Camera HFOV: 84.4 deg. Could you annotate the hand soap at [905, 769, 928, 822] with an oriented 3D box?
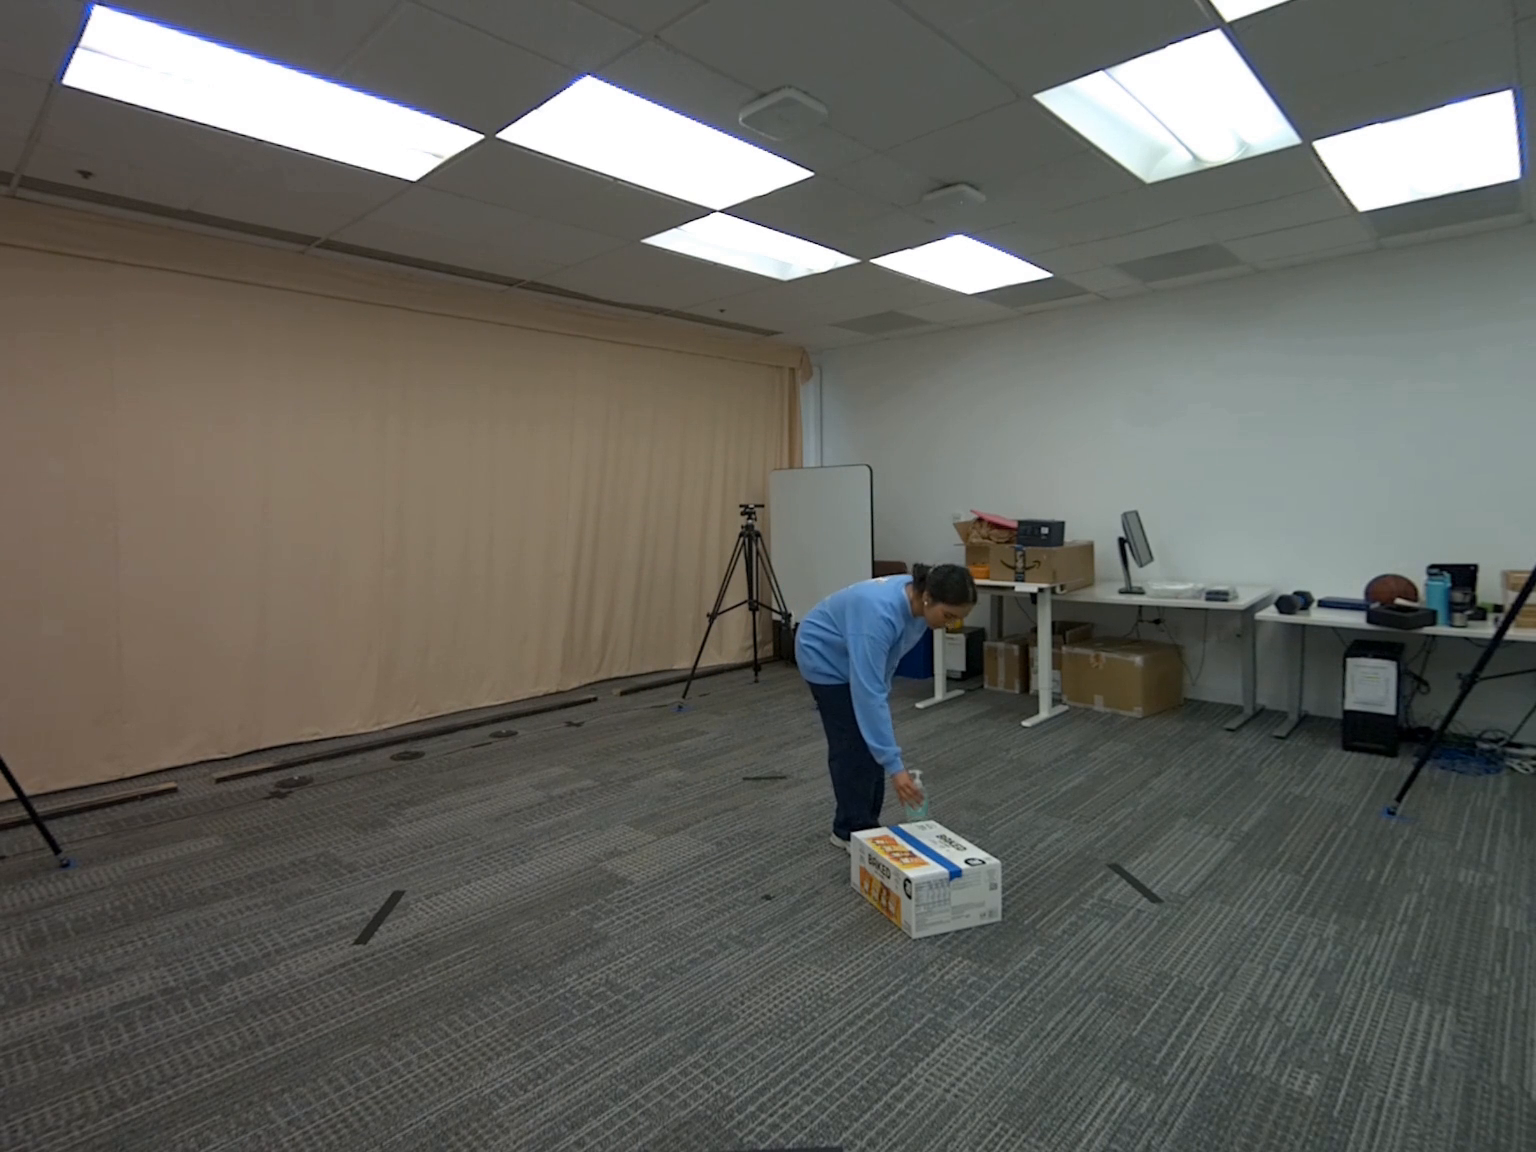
[{"bbox_3d":[0.513,0.762,2.947,0.085,0.168,0.043,10,3,4],"label":"hand soap"}]
